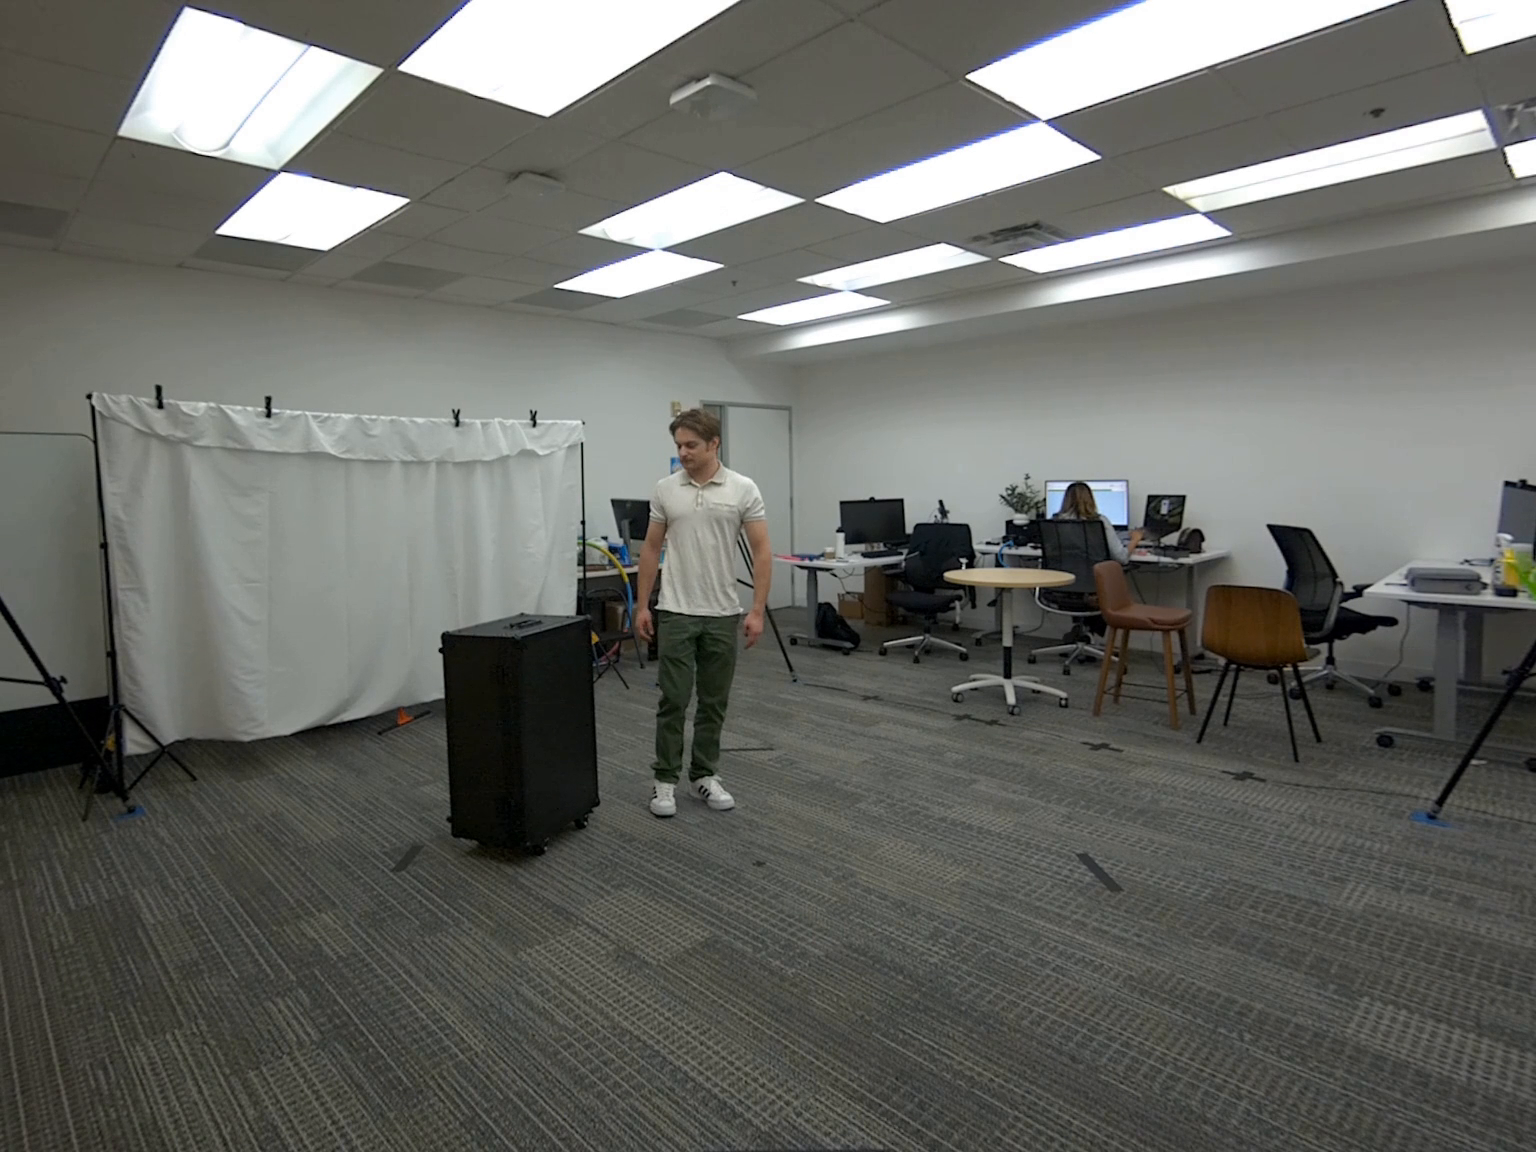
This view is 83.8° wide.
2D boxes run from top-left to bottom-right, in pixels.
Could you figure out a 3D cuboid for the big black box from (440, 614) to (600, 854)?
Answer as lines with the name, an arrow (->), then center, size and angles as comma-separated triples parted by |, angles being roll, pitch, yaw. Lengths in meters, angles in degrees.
big black box -> -0.964, 0.614, 3.358 | 0.393, 0.866, 0.514 | 0, 4, 23
